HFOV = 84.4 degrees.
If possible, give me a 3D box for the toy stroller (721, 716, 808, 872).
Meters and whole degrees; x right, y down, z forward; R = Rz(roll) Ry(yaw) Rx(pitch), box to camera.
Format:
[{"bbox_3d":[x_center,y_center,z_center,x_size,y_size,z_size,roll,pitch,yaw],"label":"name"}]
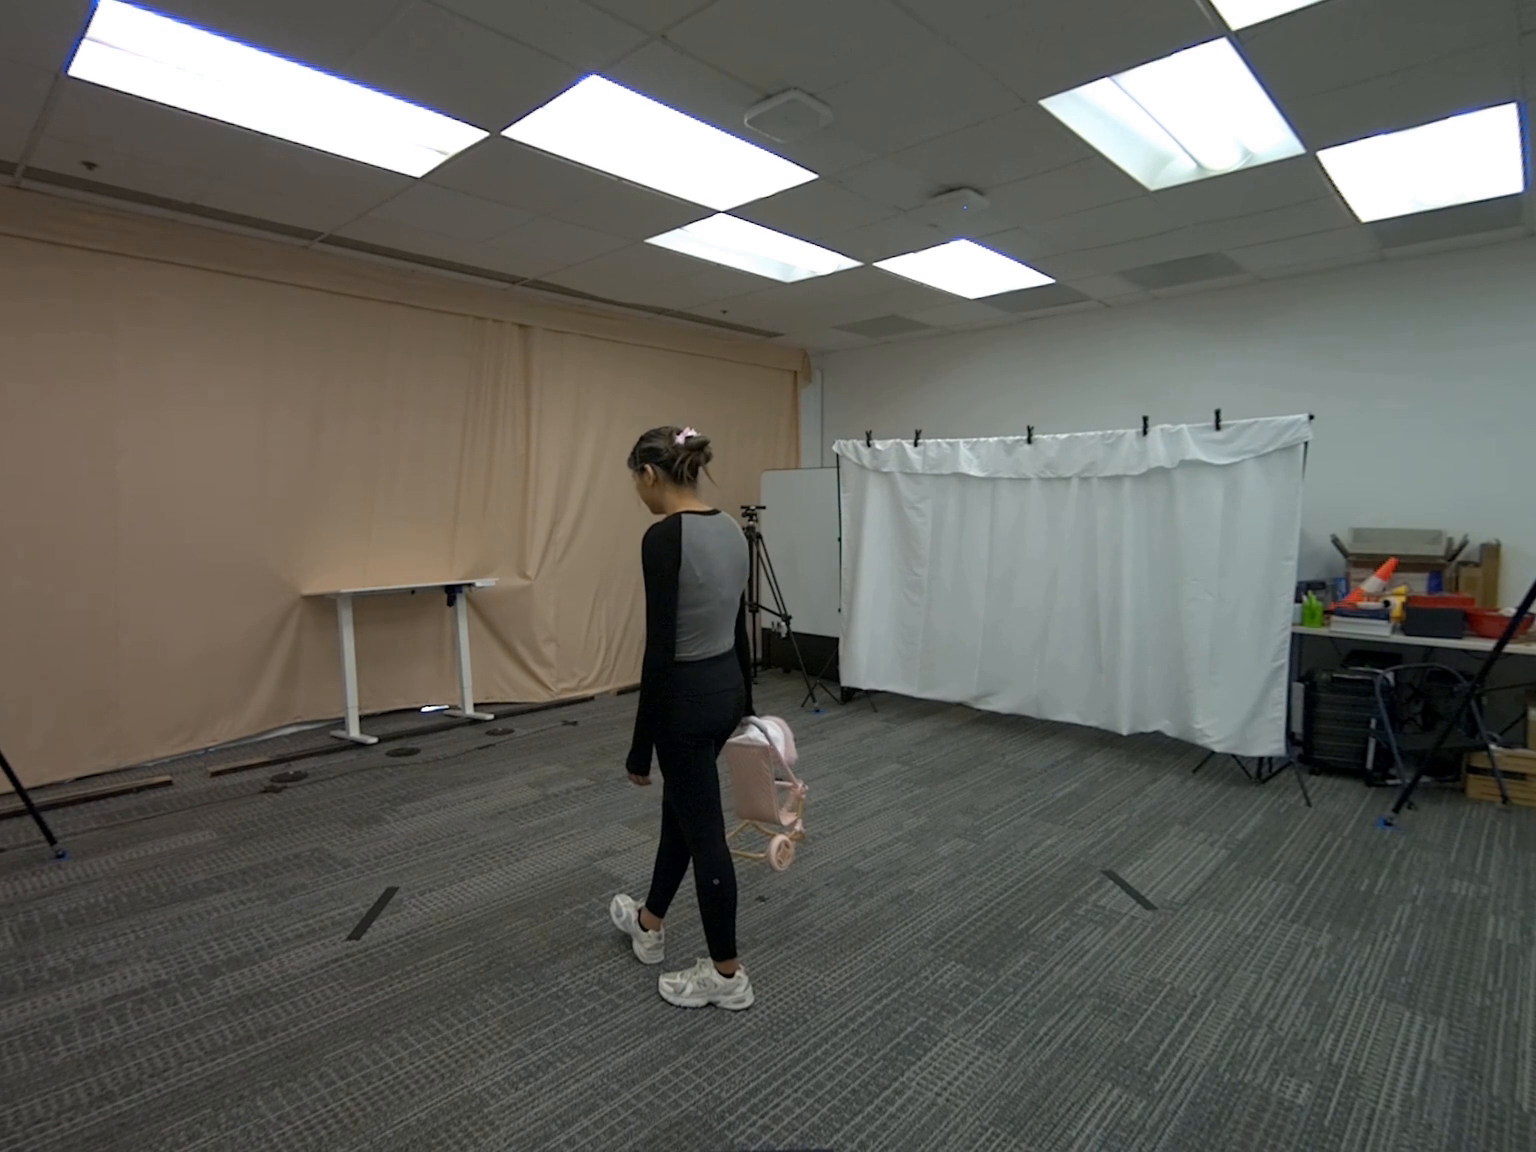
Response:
[{"bbox_3d":[-0.009,0.702,2.741,0.290,0.536,0.330,-5,-4,38],"label":"toy stroller"}]
